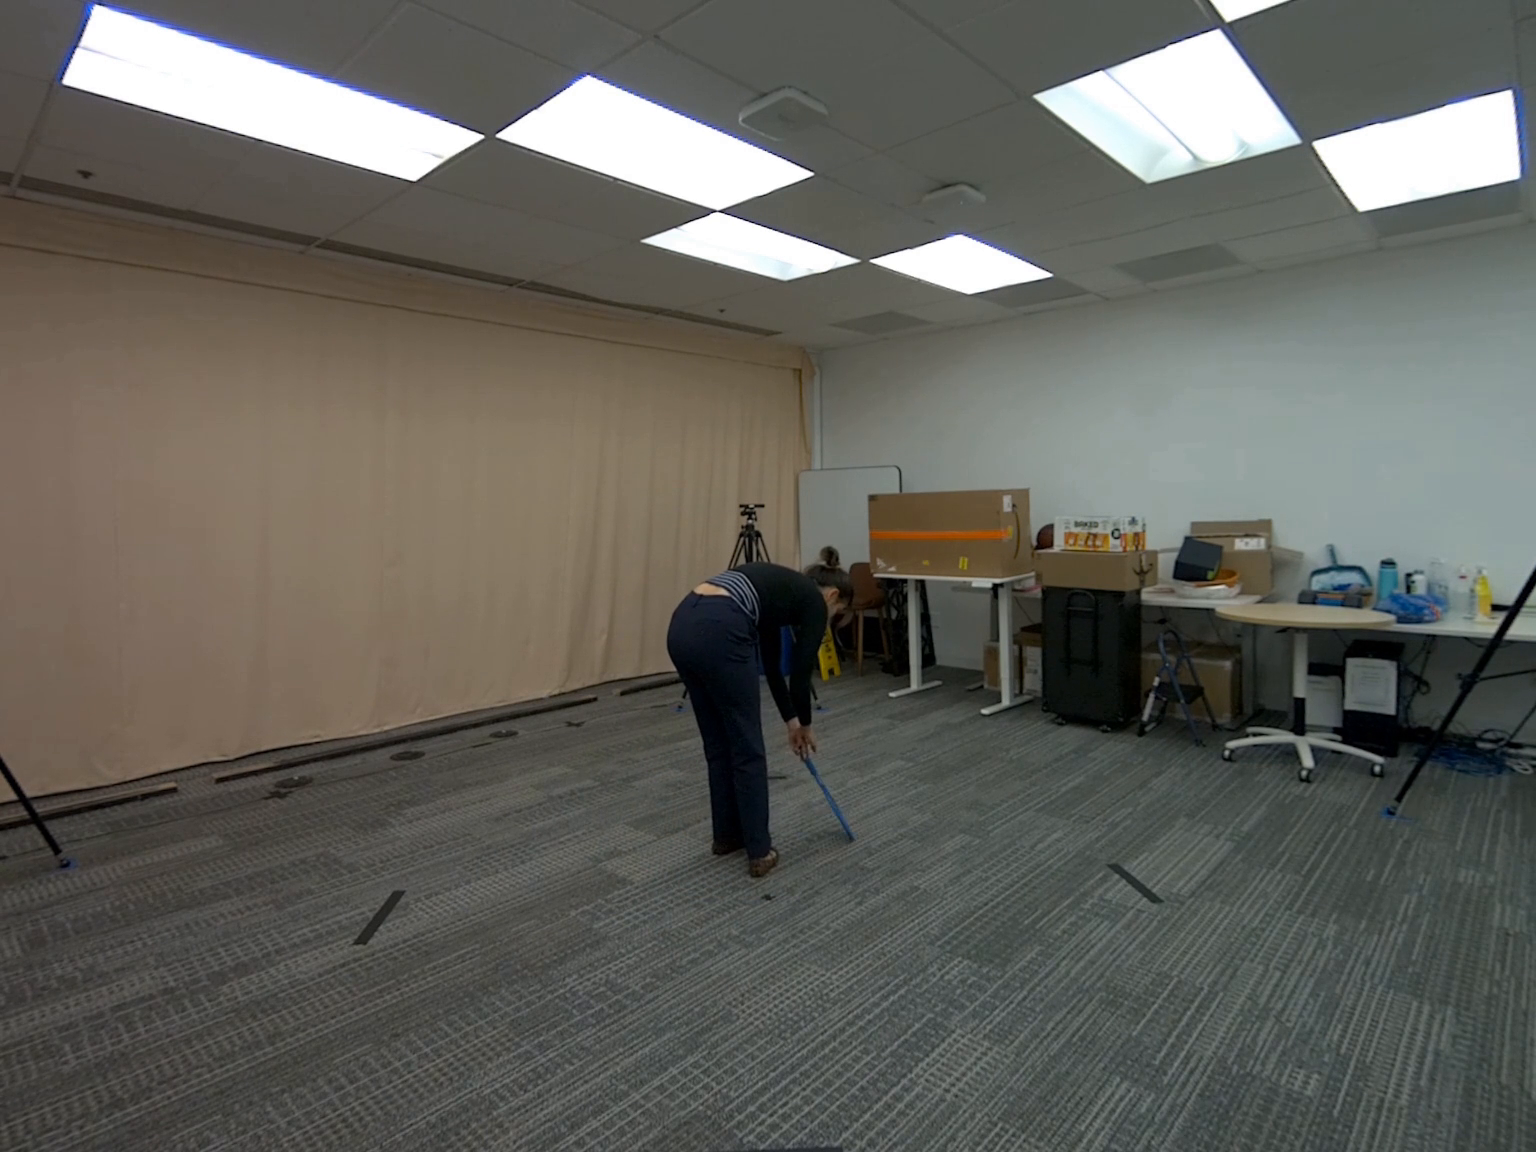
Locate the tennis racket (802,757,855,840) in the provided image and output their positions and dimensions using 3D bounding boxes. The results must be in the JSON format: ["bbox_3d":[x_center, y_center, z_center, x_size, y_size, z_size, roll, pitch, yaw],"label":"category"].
[{"bbox_3d":[0.234,0.897,3.484,0.032,0.433,0.214,-26,1,-2],"label":"tennis racket"}]
